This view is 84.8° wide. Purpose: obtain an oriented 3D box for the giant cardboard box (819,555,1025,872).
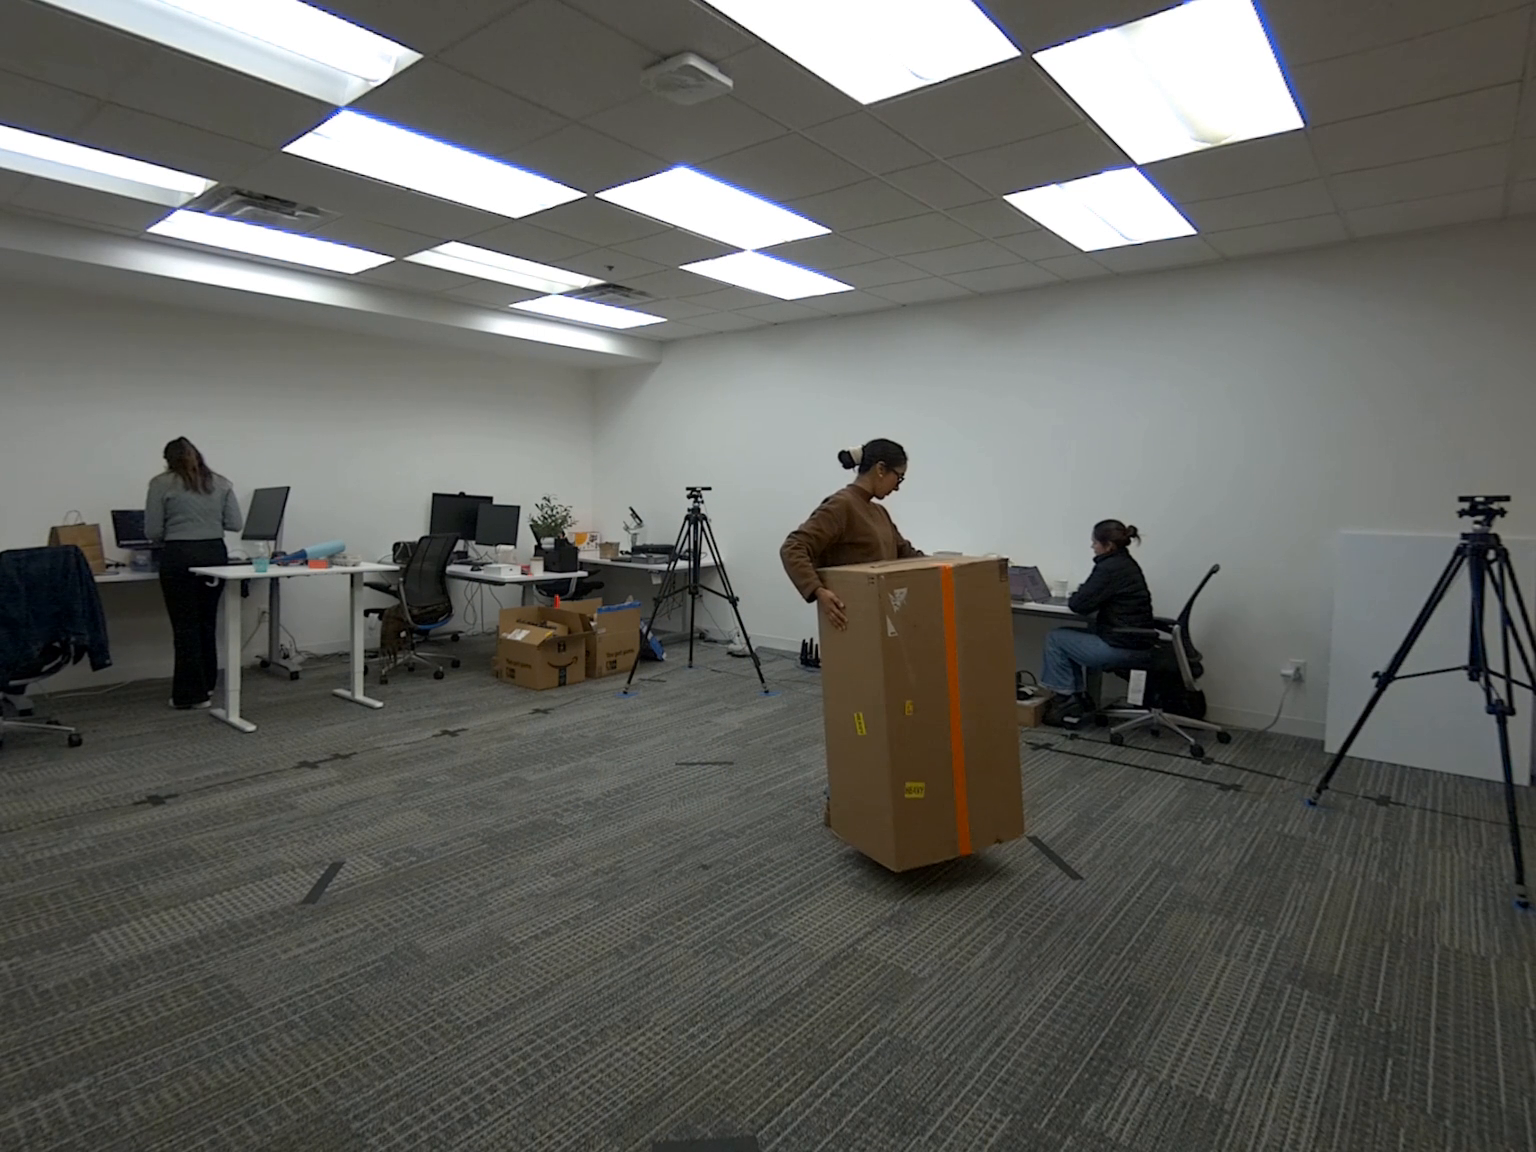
[{"bbox_3d":[0.552,0.468,3.170,0.564,1.024,0.437,-4,2,-27],"label":"giant cardboard box"}]
